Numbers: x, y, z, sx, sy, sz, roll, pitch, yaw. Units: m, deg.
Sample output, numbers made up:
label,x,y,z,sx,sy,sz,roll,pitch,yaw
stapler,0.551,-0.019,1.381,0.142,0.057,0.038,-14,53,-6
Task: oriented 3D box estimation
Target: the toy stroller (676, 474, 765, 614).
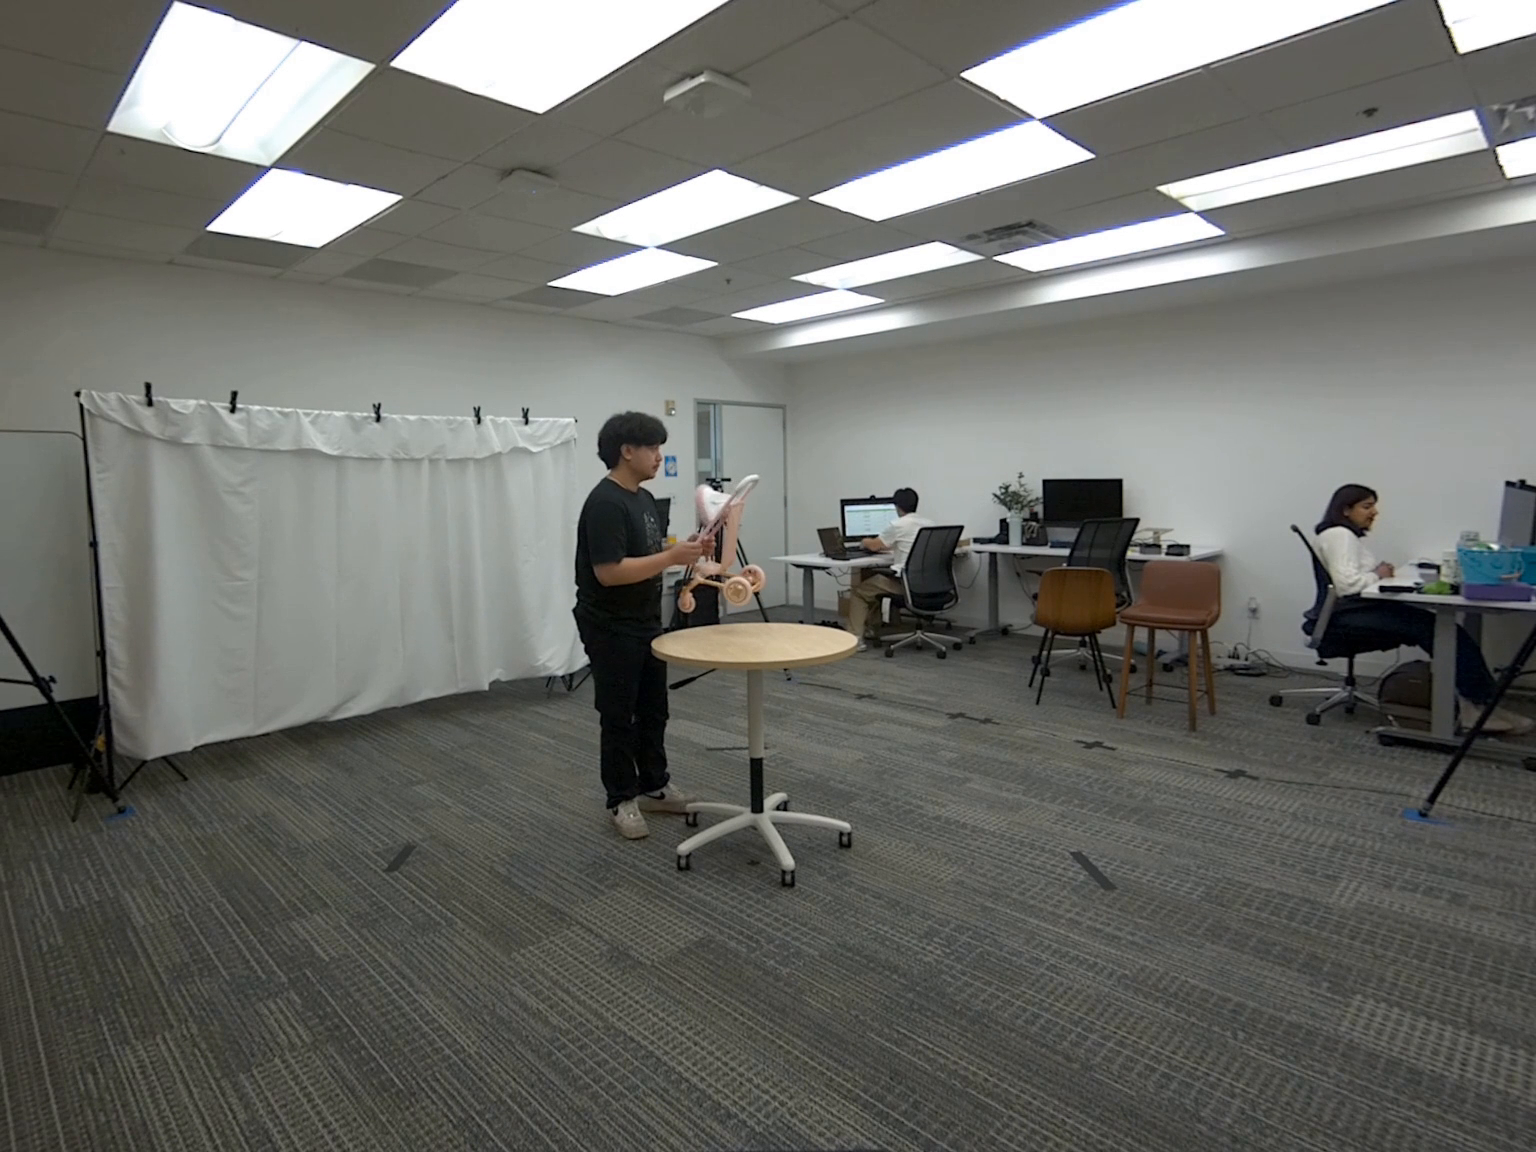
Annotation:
label,x,y,z,sx,sy,sz,roll,pitch,yaw
toy stroller,-0.203,-0.118,3.327,0.347,0.530,0.279,1,9,19
